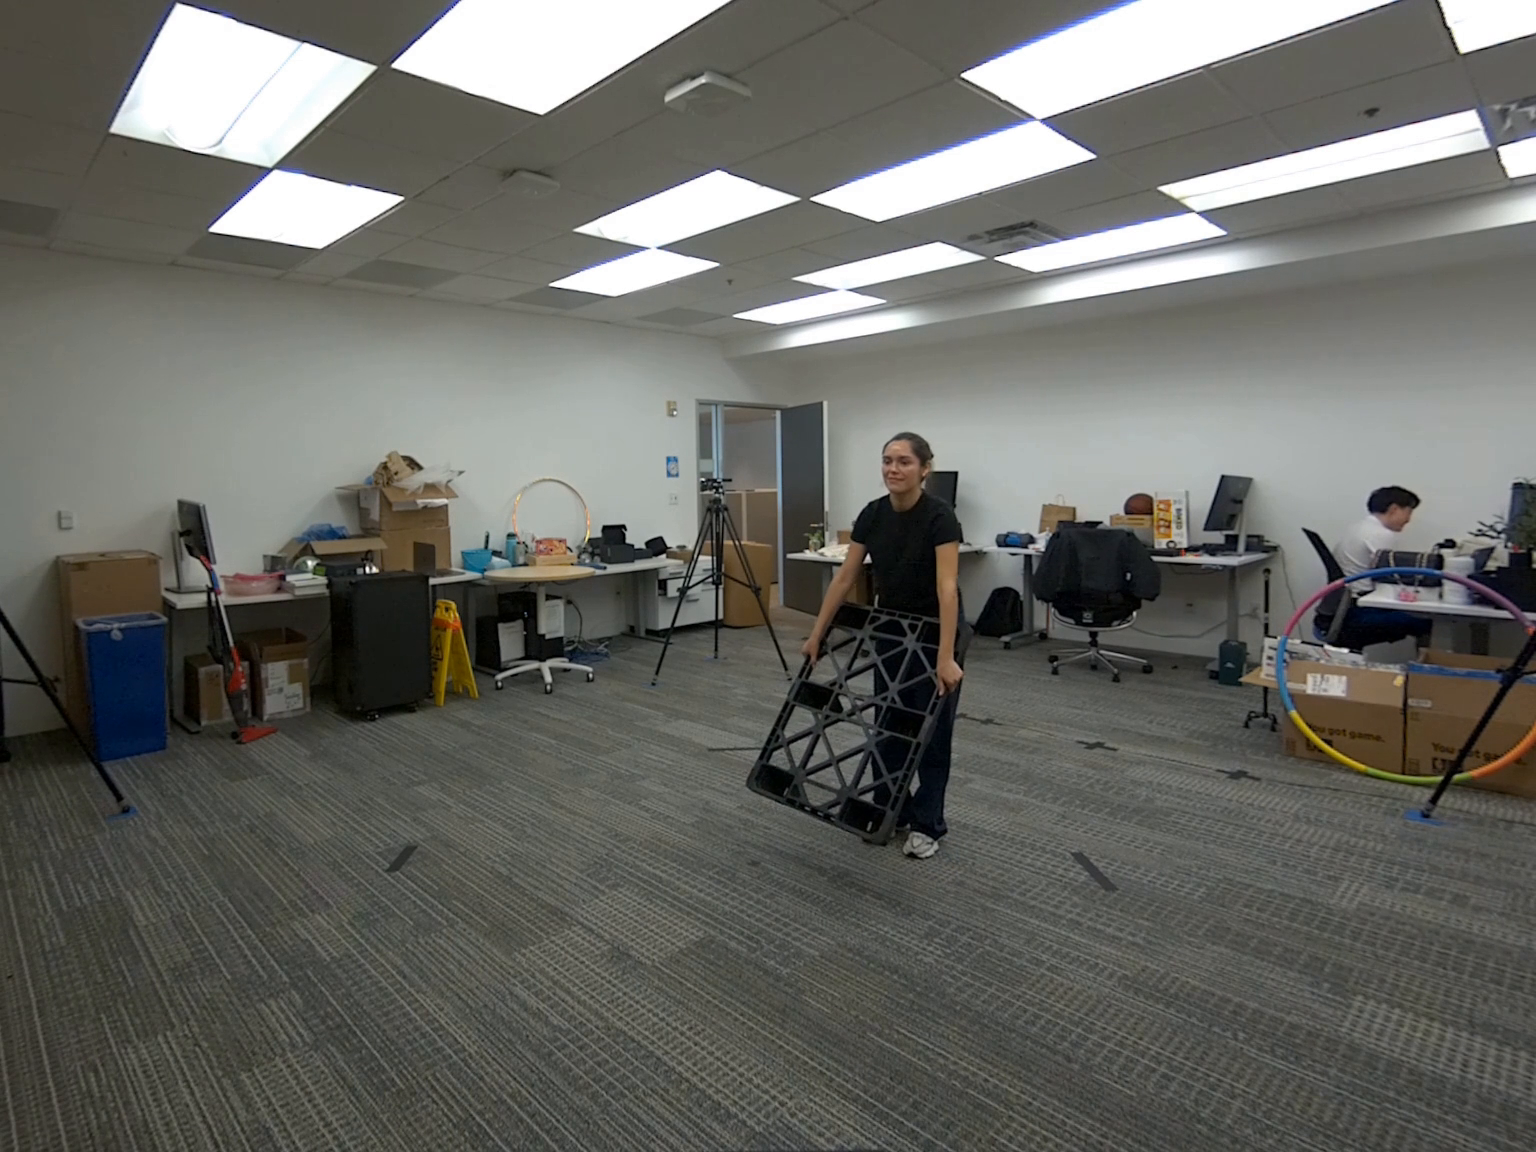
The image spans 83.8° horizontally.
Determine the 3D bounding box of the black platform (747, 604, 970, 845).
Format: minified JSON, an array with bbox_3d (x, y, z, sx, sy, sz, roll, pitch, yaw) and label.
[{"bbox_3d":[0.341,0.494,3.060,0.625,0.811,0.138,9,-26,42],"label":"black platform"}]
